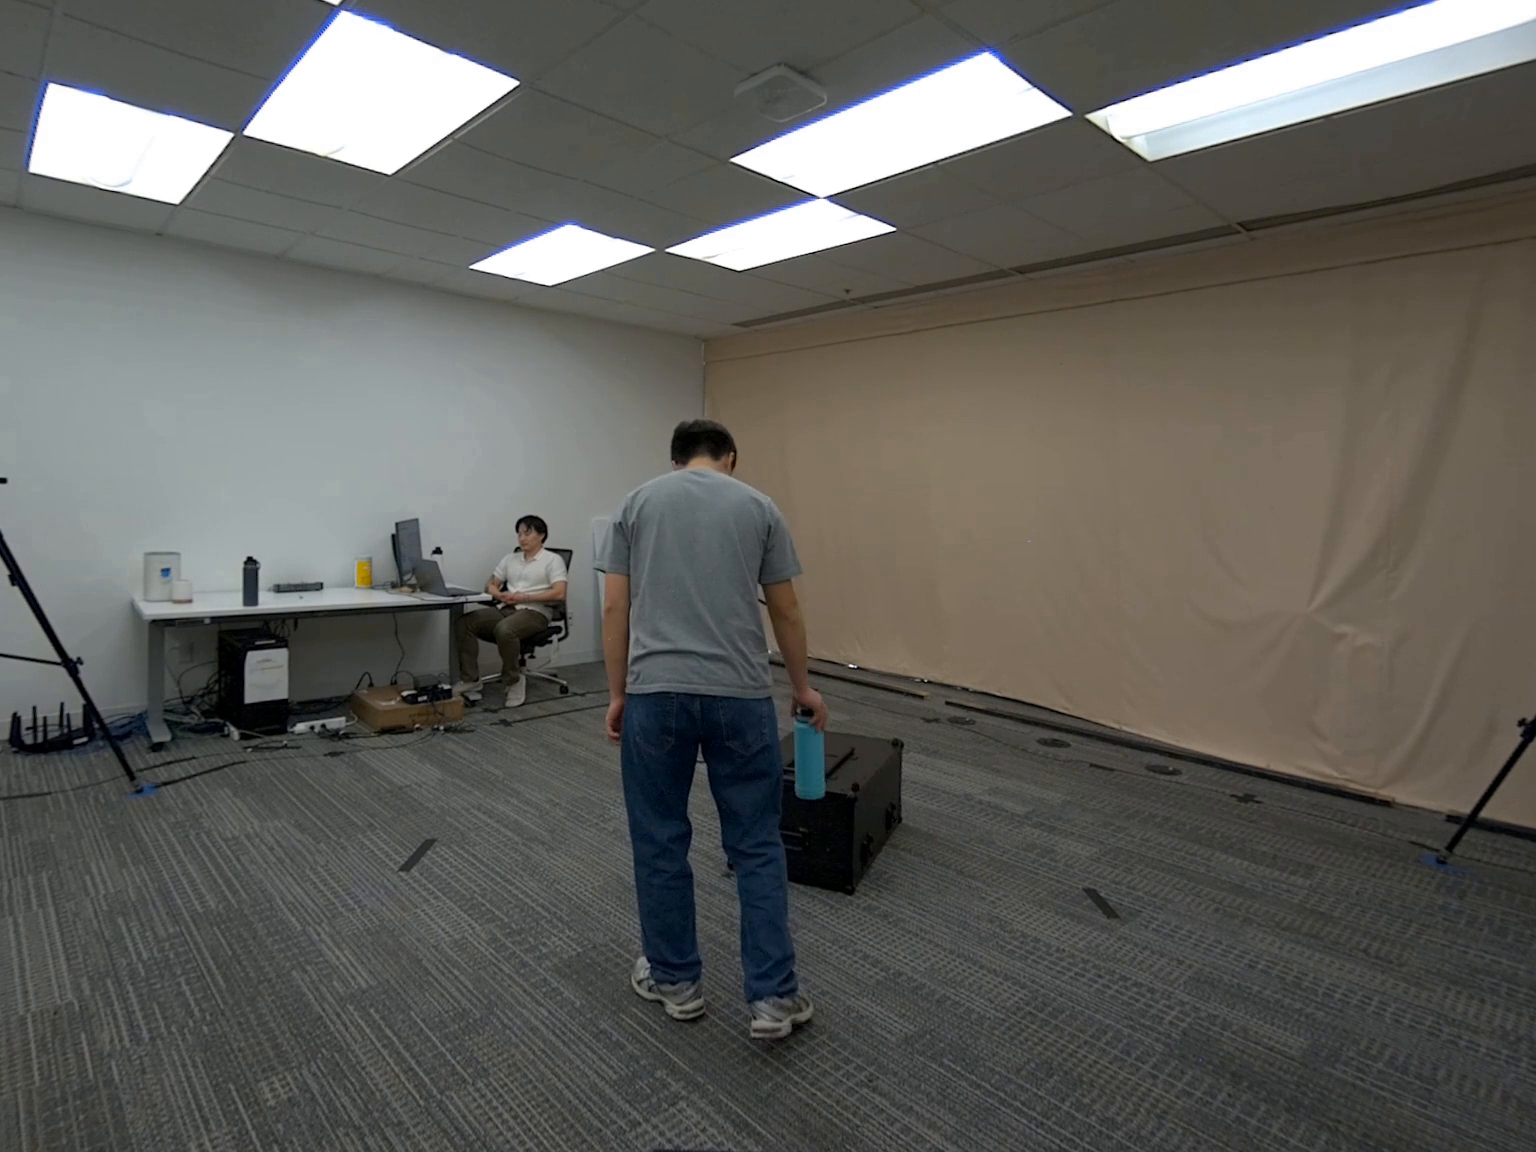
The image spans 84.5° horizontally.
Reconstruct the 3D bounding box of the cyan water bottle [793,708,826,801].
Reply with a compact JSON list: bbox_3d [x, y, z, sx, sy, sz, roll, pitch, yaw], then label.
[{"bbox_3d":[0.117,0.530,2.533,0.092,0.283,0.092,-2,0,-1],"label":"cyan water bottle"}]
